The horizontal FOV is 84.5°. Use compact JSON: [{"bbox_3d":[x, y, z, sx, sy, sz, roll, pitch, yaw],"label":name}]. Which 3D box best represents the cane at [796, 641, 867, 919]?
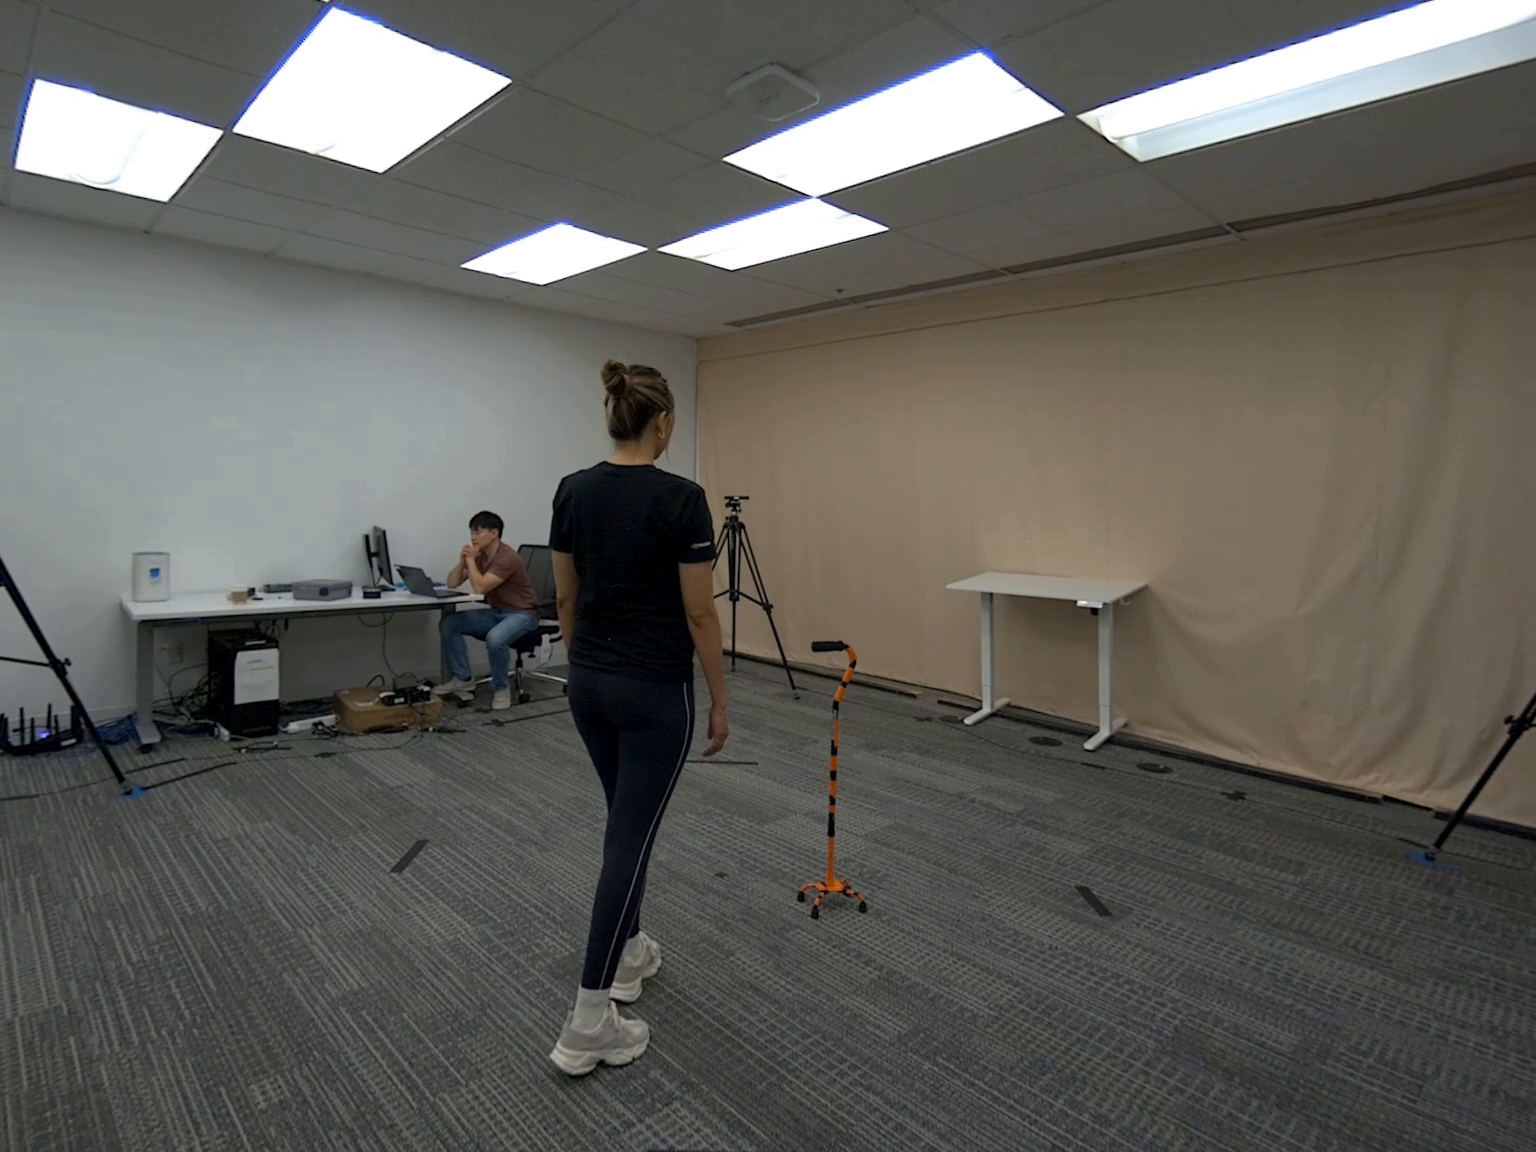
[{"bbox_3d":[0.226,0.682,2.860,0.204,0.906,0.154,1,3,-16],"label":"cane"}]
